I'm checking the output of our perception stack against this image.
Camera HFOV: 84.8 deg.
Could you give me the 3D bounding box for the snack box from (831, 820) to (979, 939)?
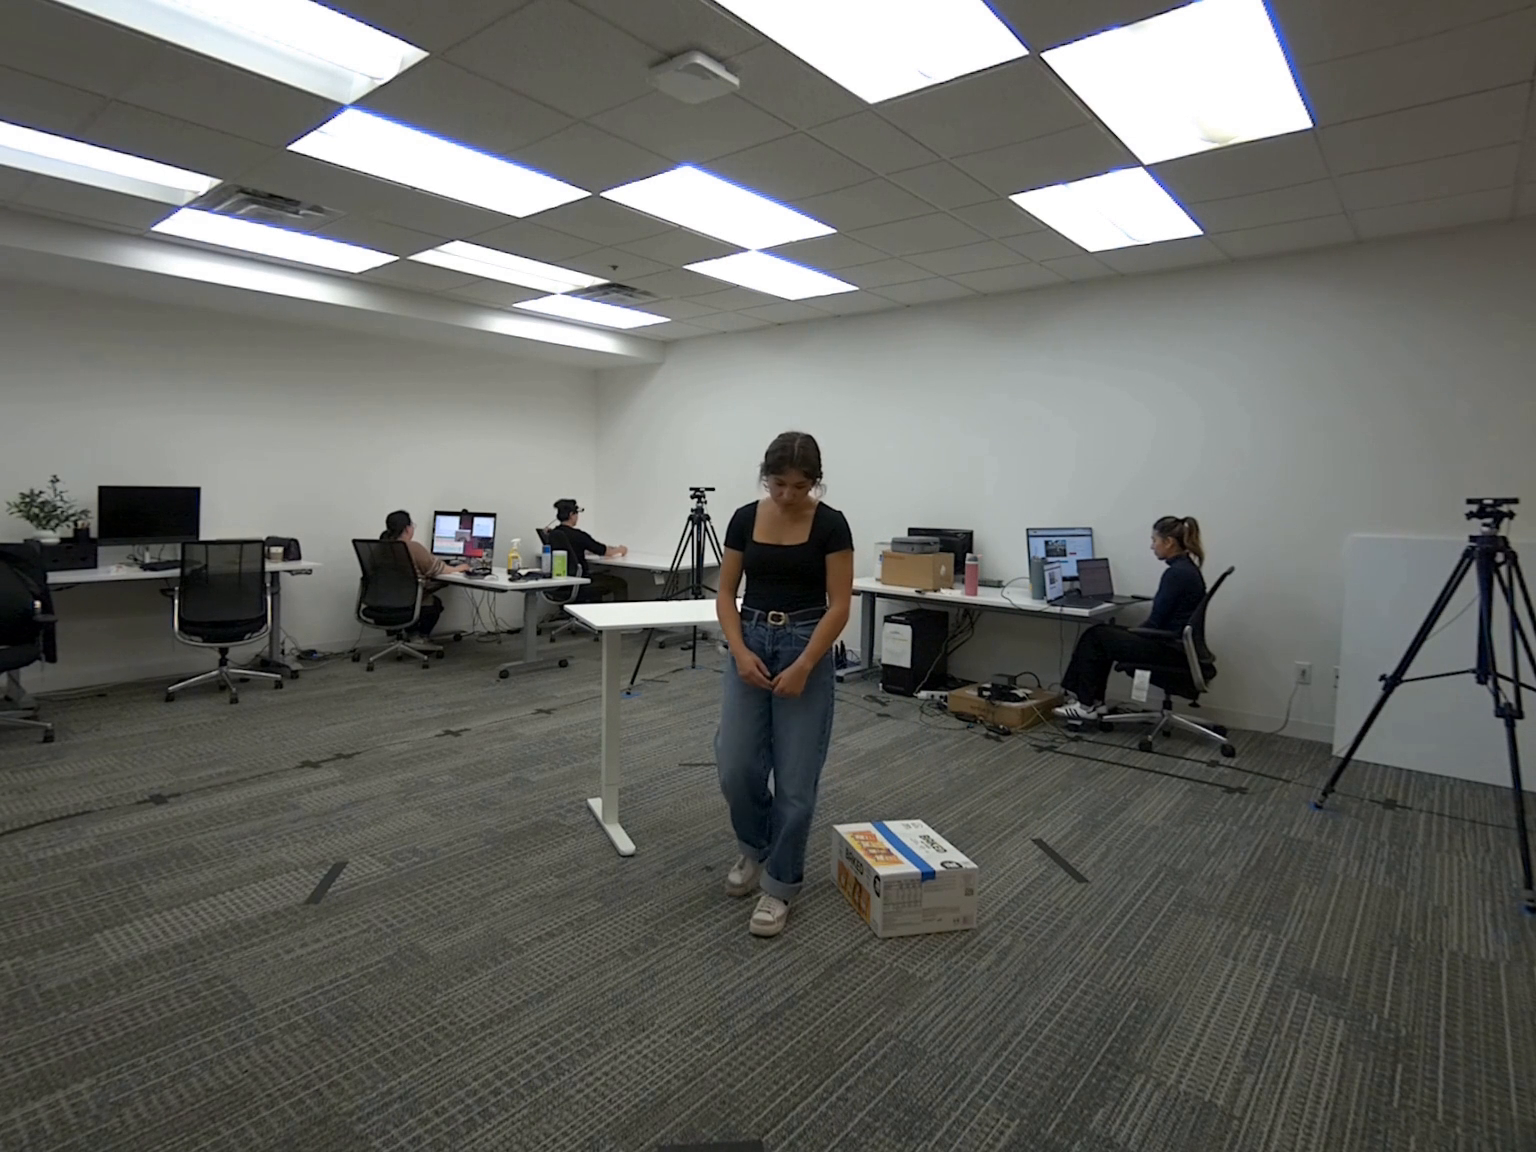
[{"bbox_3d":[0.444,1.005,2.865,0.335,0.205,0.413,0,5,-16],"label":"snack box"}]
